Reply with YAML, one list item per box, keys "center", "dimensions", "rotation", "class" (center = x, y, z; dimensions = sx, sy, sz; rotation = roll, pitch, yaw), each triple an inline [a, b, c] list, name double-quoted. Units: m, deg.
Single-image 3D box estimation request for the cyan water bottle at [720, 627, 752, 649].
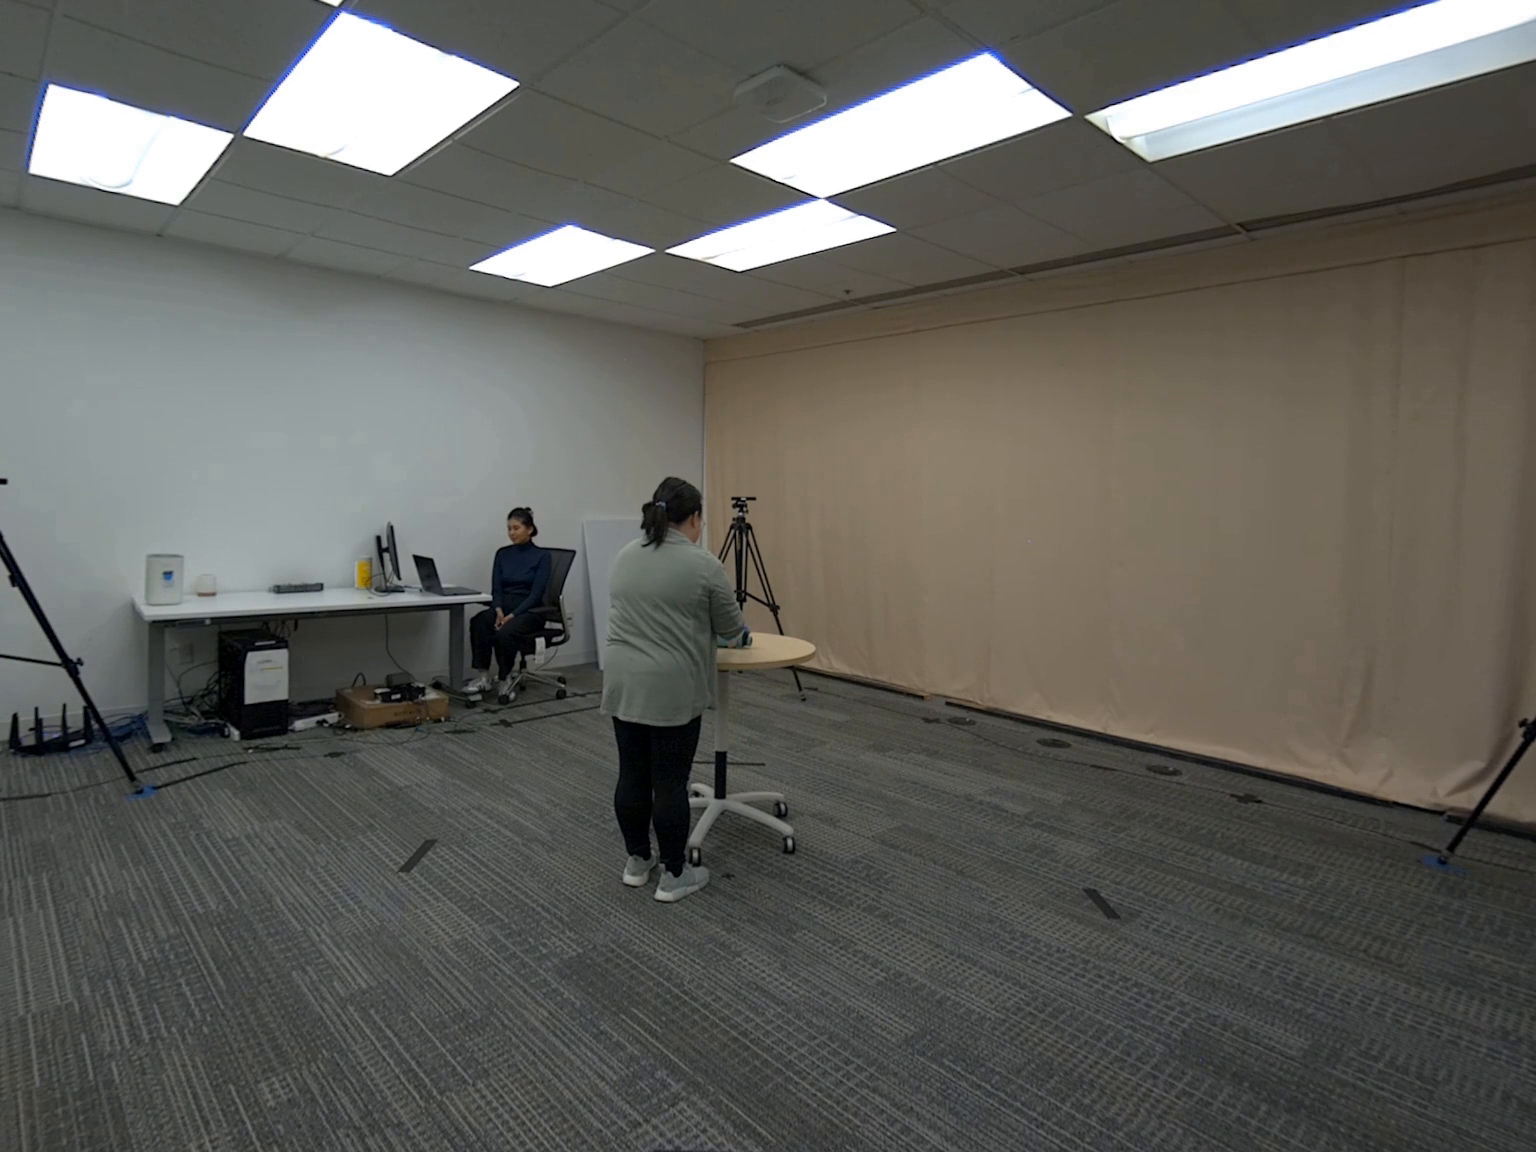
- center: [-0.218, 0.247, 3.467]
  dimensions: [0.286, 0.092, 0.091]
  rotation: [3, 4, 12]
  class: "cyan water bottle"
